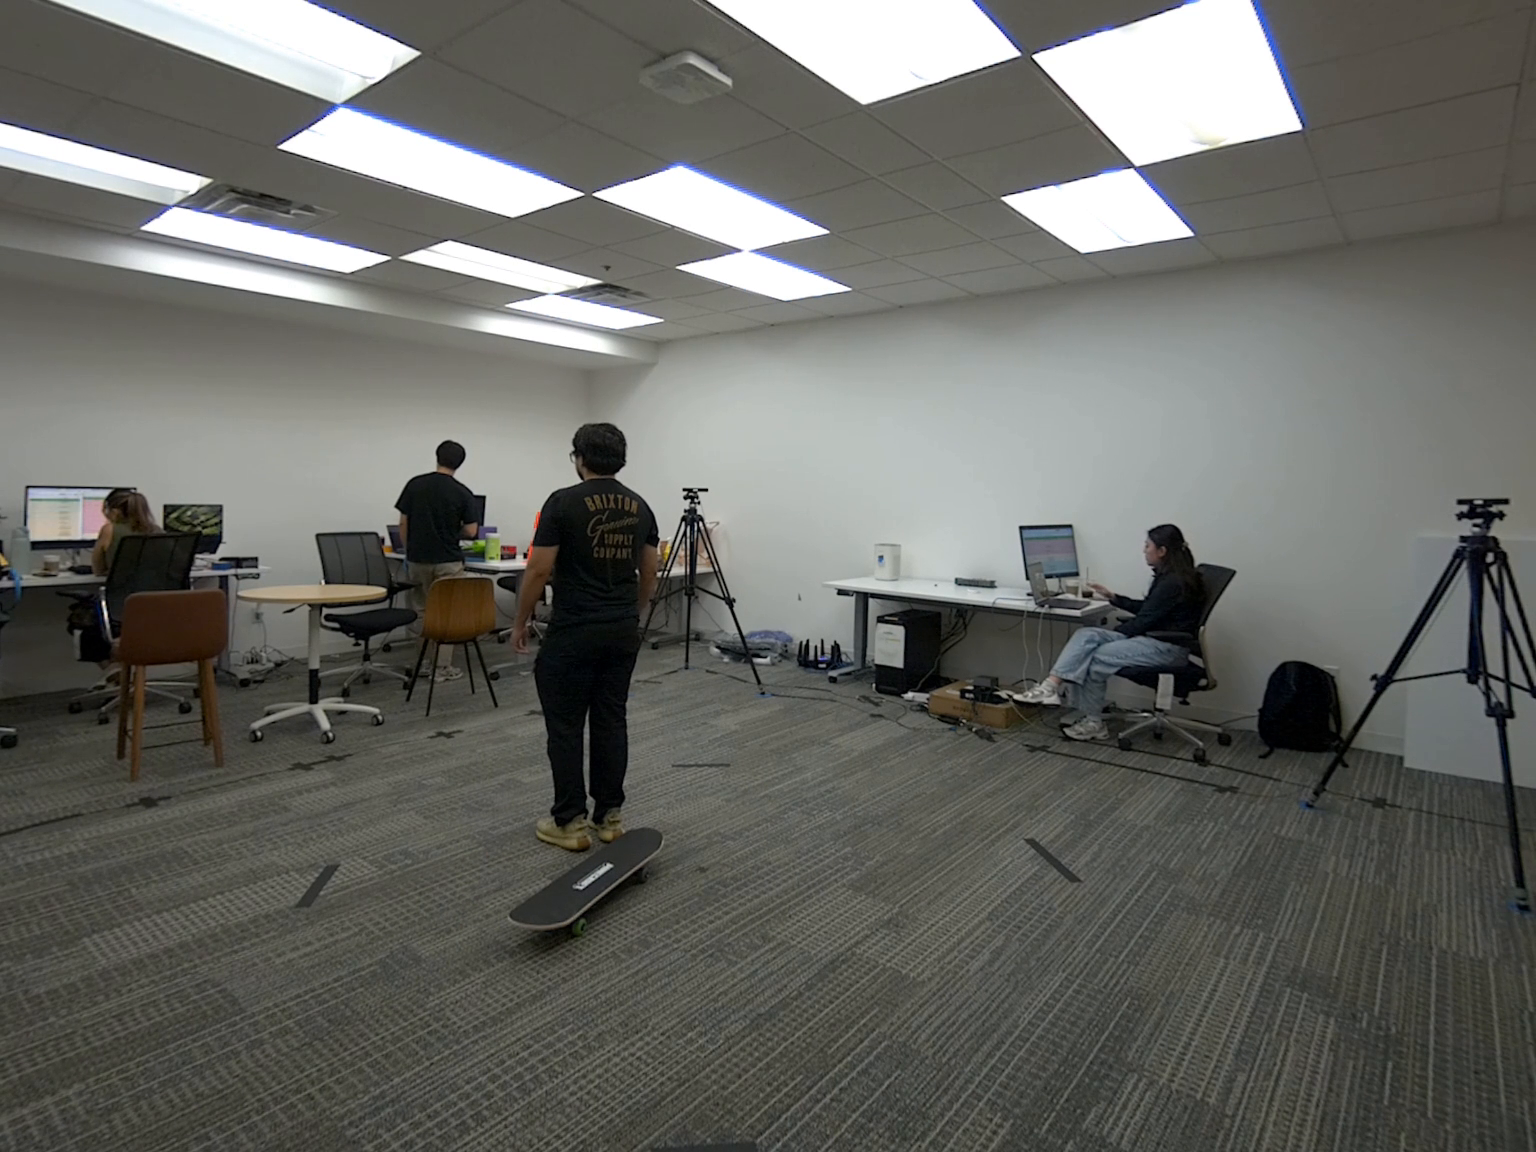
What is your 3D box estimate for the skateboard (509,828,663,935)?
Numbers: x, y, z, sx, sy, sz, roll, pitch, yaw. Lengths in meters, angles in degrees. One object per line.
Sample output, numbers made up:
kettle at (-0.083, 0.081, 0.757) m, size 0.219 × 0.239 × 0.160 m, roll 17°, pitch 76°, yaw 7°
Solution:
skateboard at (-0.597, 1.029, 2.852) m, size 0.198 × 0.110 × 0.770 m, roll 2°, pitch 6°, yaw 22°
